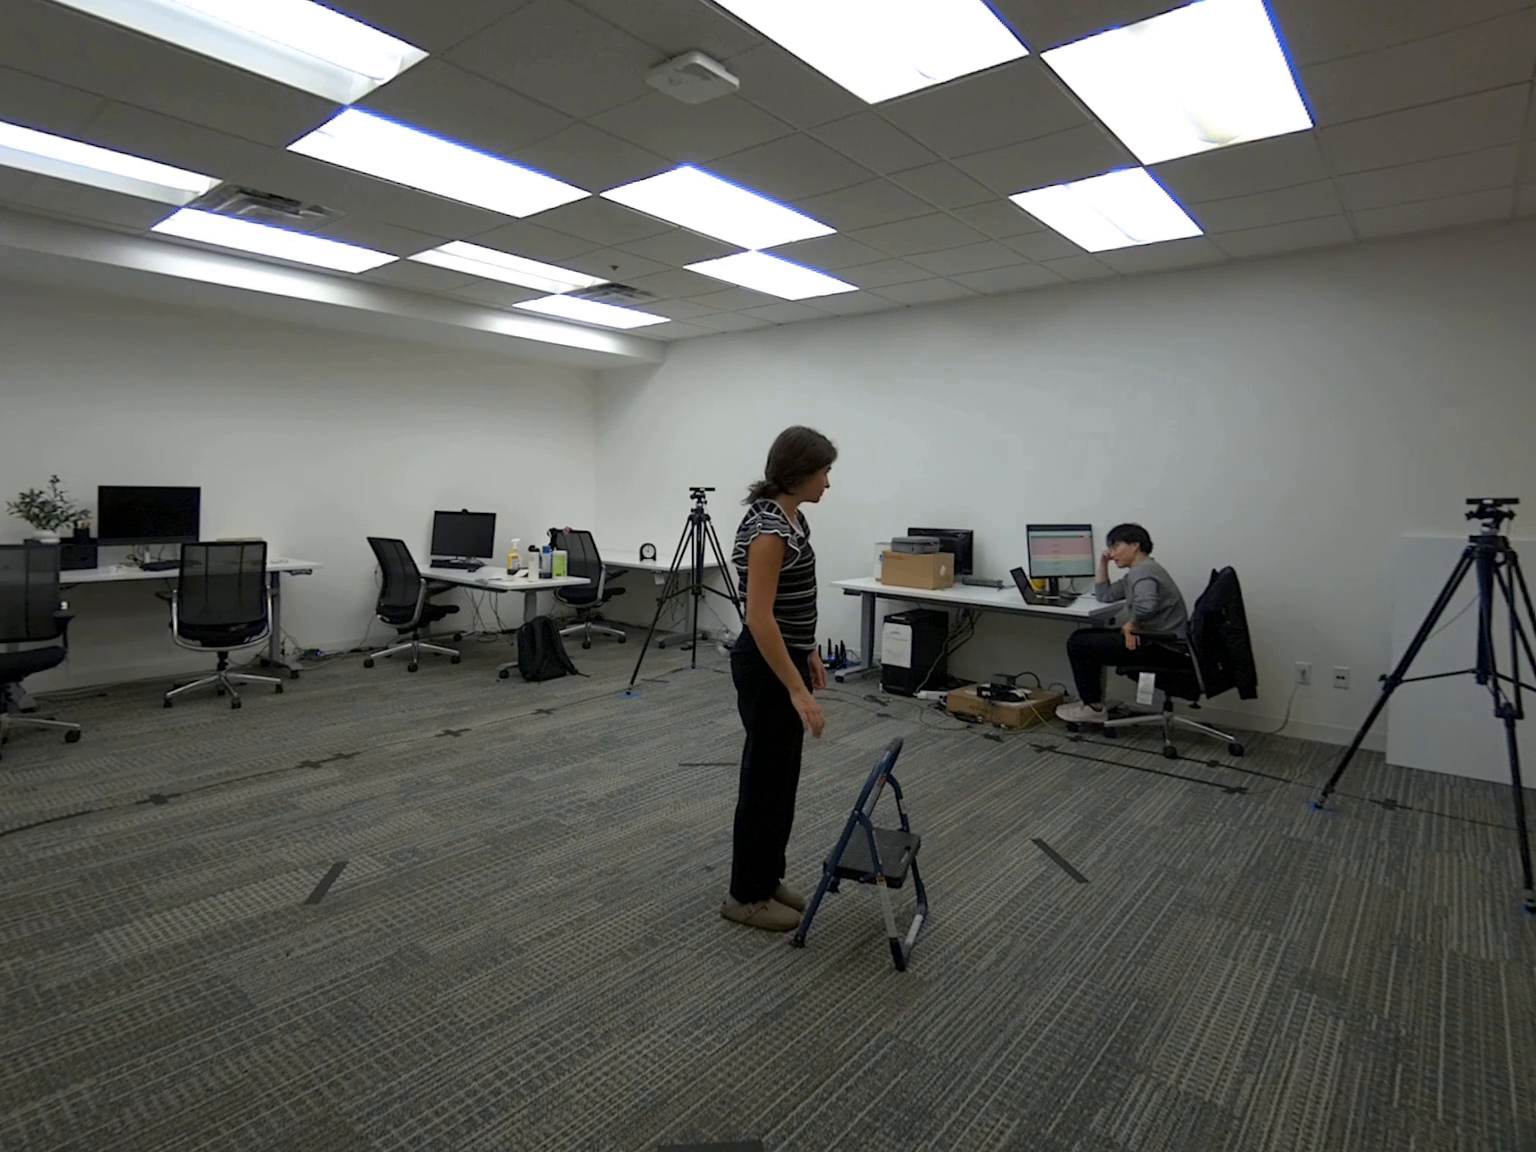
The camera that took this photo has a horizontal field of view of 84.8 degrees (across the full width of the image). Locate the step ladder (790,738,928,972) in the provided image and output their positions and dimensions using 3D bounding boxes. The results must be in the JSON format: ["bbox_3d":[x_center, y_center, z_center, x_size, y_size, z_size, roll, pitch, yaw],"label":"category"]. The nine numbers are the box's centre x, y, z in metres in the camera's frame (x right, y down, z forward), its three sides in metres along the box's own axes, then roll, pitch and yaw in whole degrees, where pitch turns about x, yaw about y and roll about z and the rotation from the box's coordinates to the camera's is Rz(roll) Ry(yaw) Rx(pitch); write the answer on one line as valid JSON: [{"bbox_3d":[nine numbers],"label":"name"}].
[{"bbox_3d":[0.307,0.820,2.701,0.357,0.604,0.422,3,4,21],"label":"step ladder"}]
